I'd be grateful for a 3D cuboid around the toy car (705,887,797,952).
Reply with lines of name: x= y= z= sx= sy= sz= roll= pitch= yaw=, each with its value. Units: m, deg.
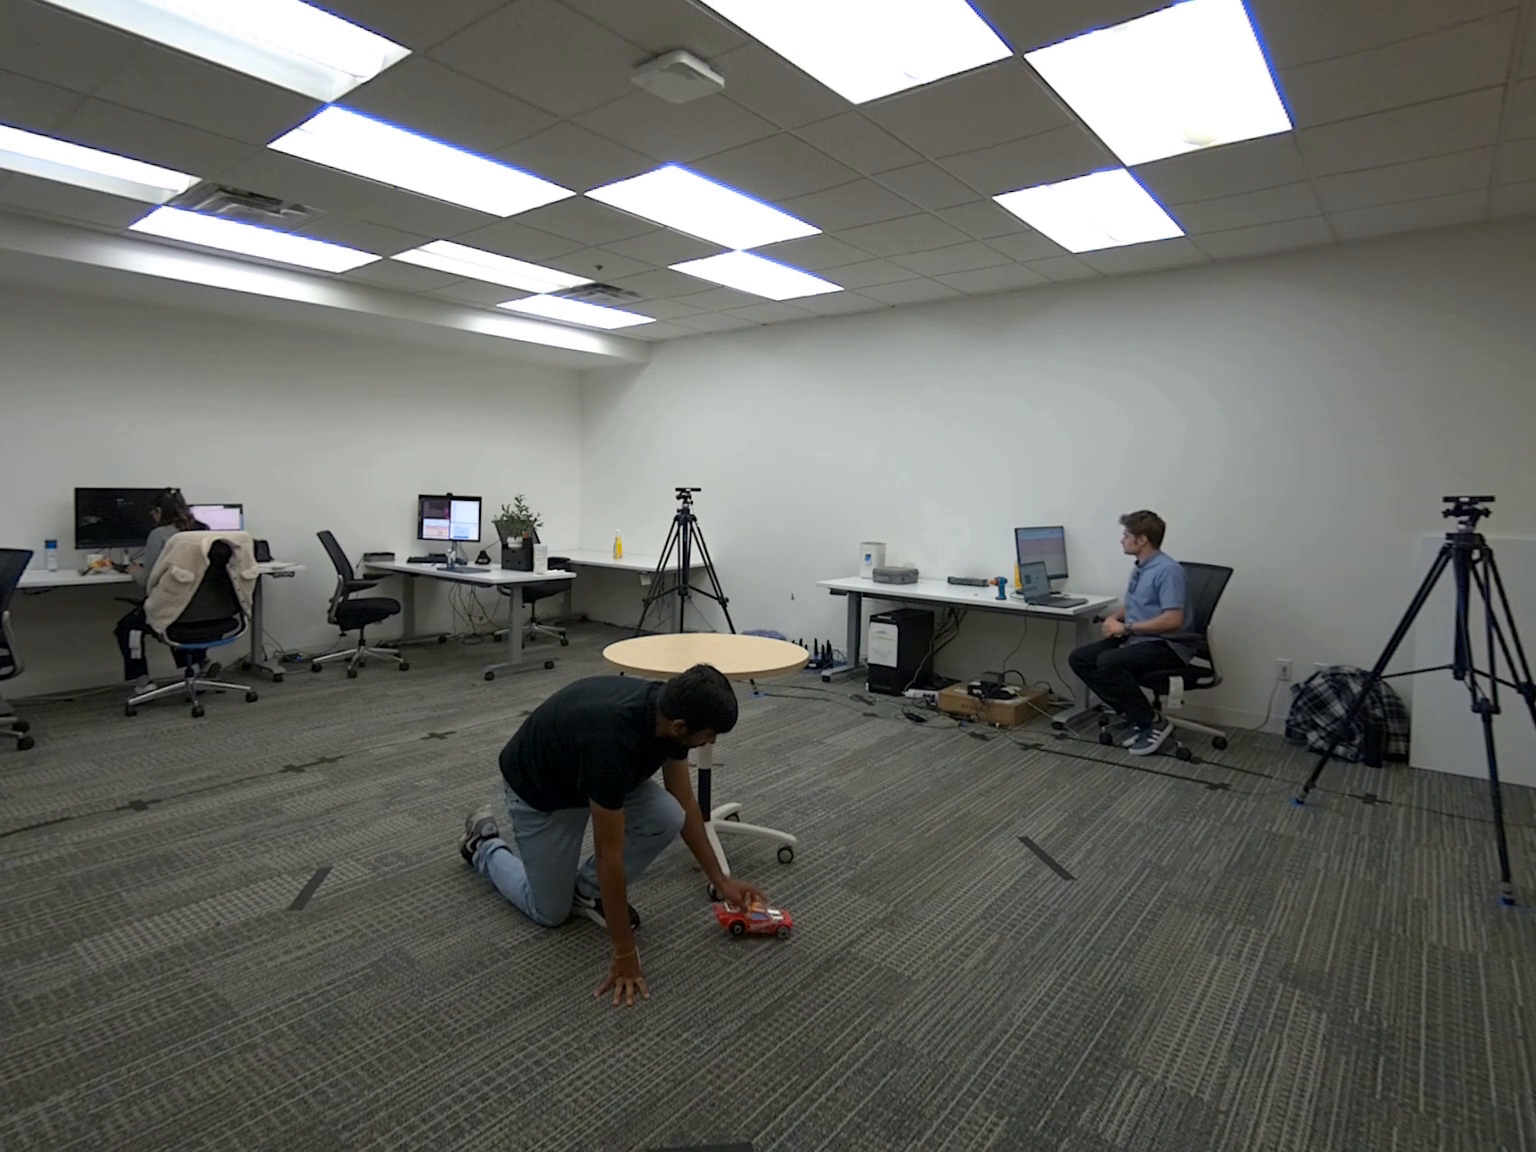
toy car: x=-0.057 y=1.073 z=2.646 sx=0.252 sy=0.083 sz=0.132 roll=20 pitch=-1 yaw=-9
